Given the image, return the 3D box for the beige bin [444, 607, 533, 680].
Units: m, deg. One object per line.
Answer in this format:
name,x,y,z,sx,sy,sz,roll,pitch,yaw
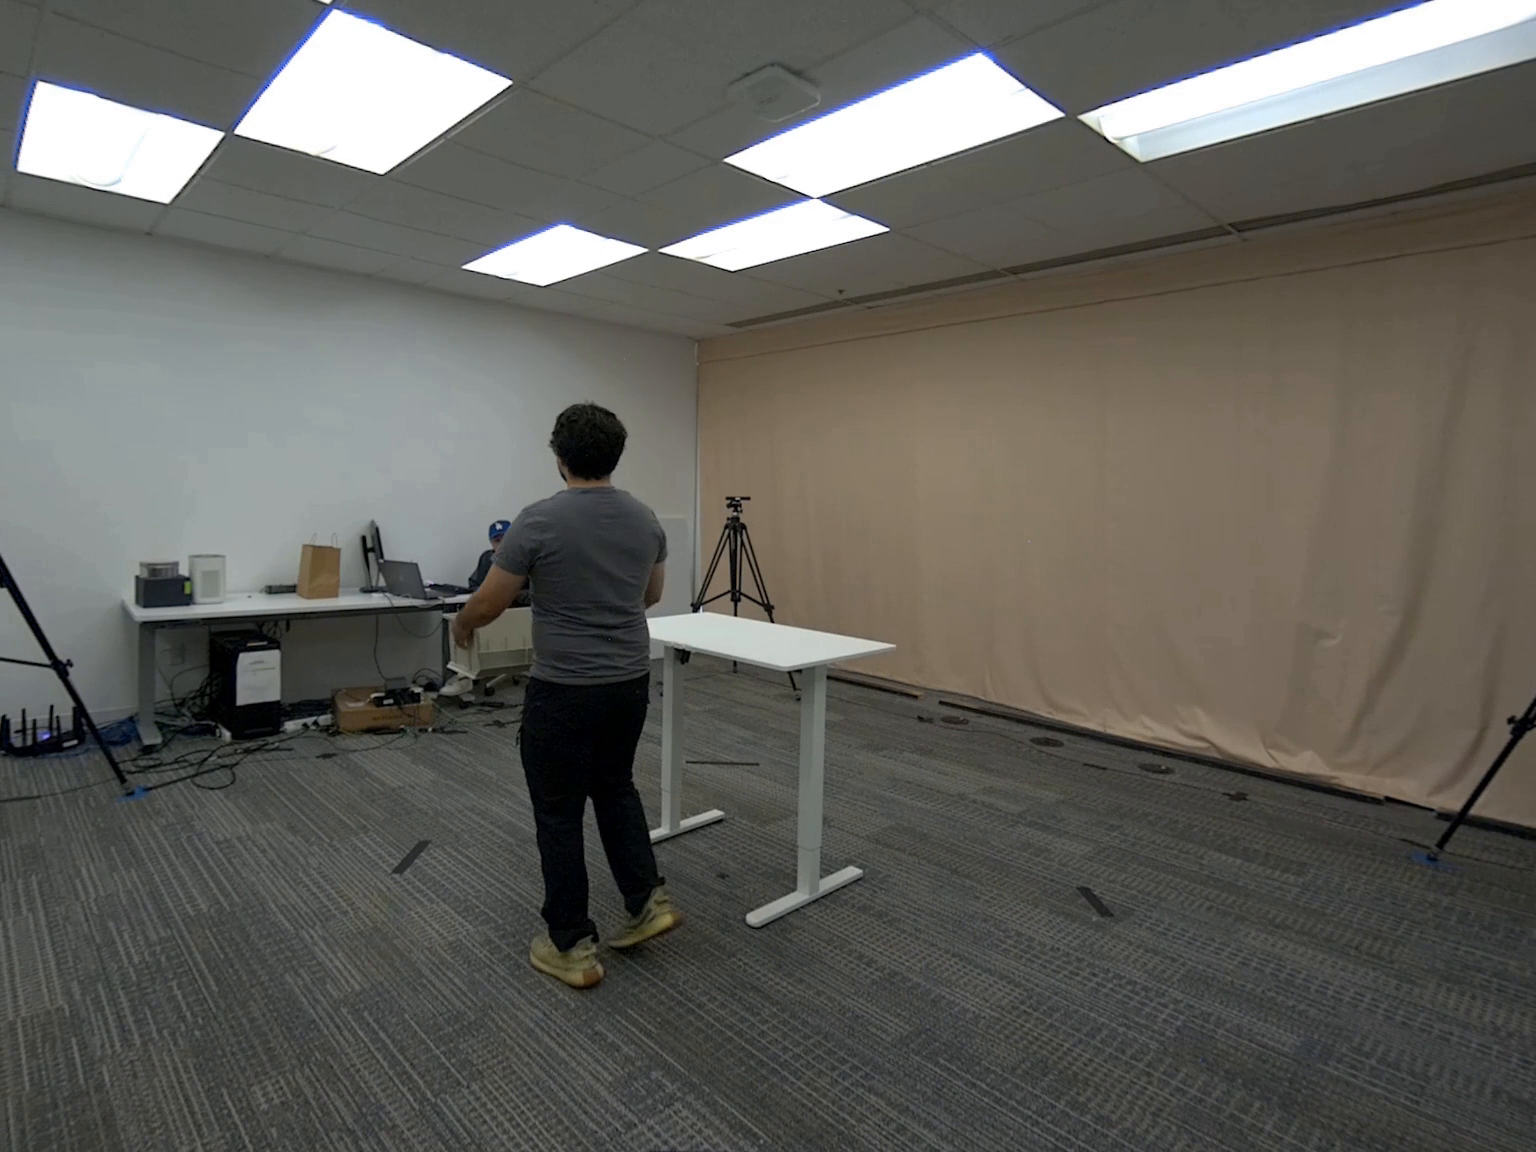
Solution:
beige bin,-0.819,0.217,2.808,0.414,0.189,0.386,-5,4,-34
